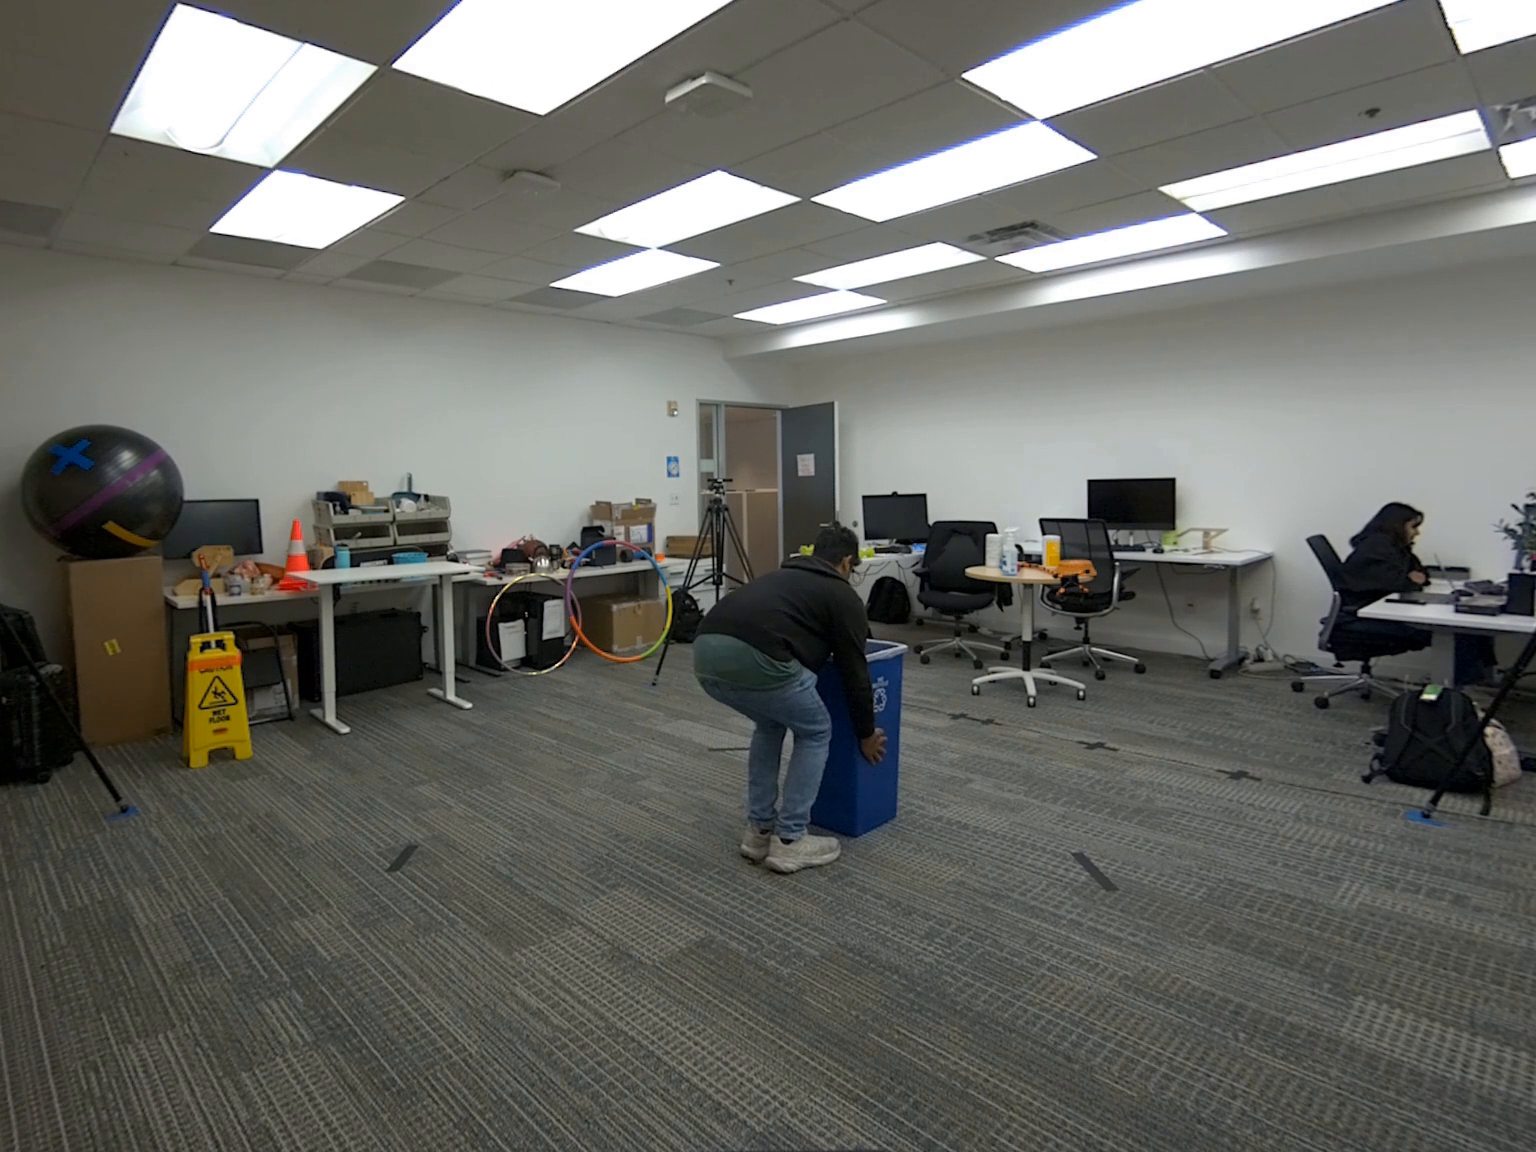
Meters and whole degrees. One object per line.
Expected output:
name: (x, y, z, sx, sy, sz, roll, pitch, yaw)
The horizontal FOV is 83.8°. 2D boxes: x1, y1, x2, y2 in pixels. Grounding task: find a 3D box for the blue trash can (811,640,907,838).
blue trash can: (0.330, 0.636, 3.502, 0.390, 0.711, 0.364, 4, 6, 41)
